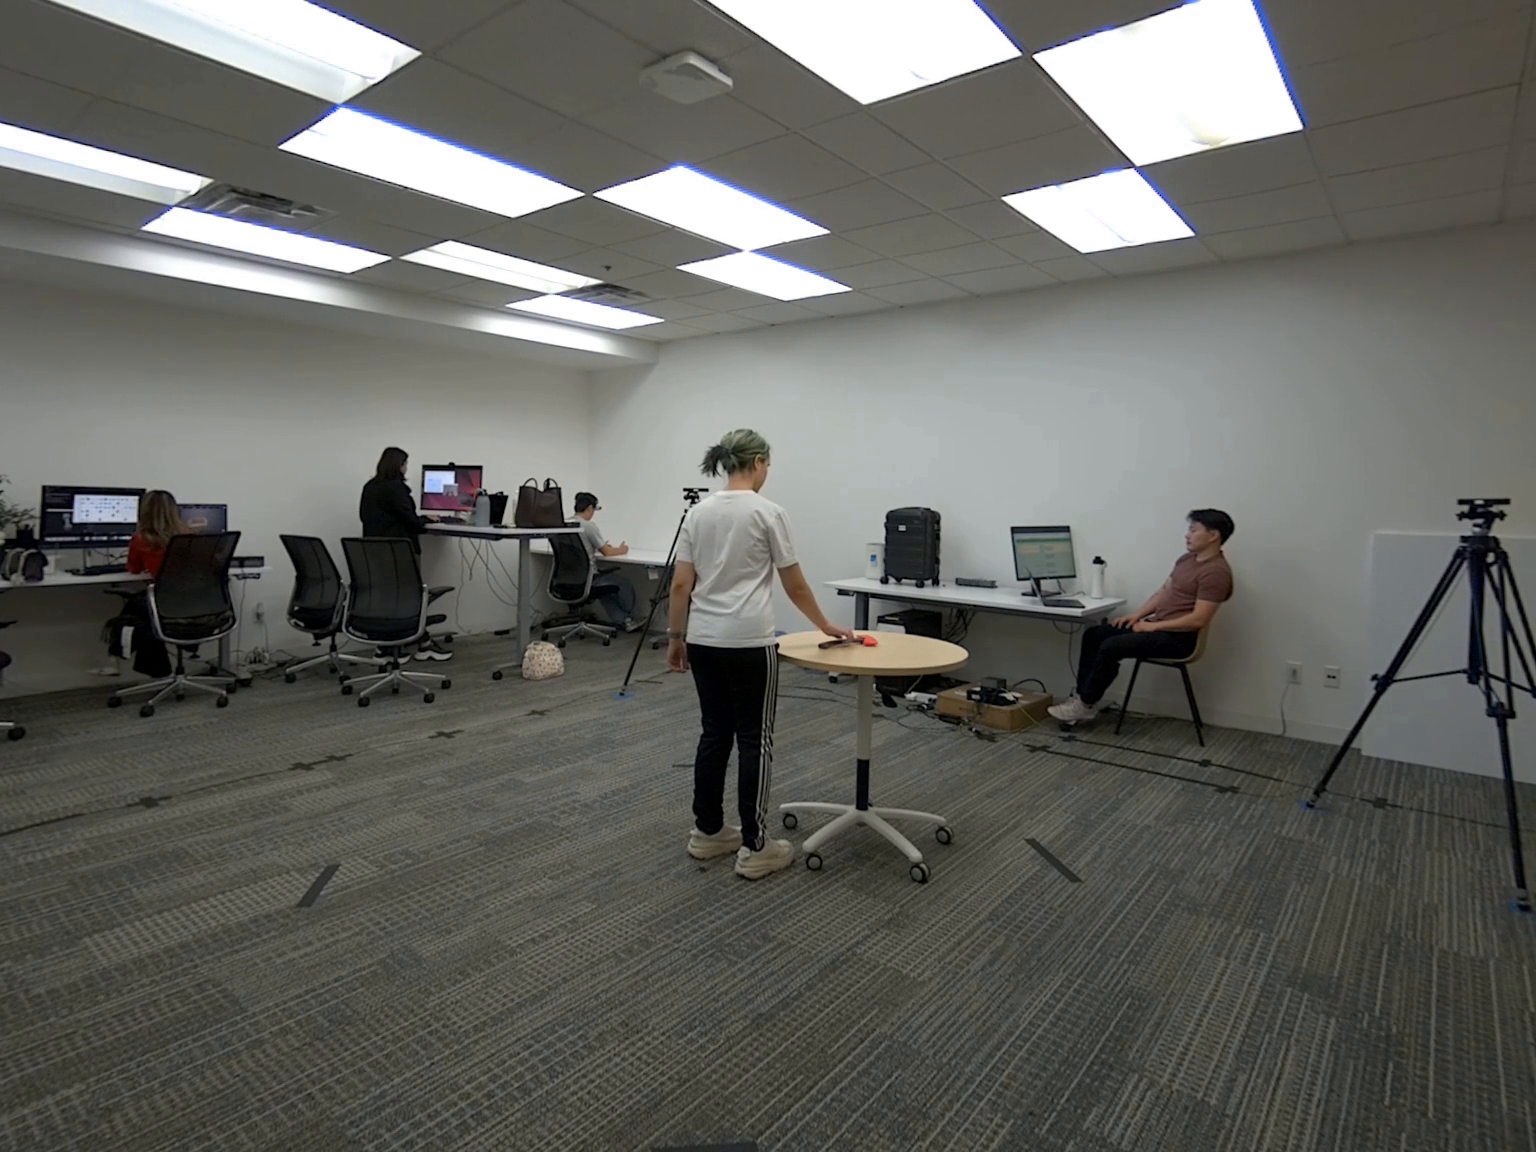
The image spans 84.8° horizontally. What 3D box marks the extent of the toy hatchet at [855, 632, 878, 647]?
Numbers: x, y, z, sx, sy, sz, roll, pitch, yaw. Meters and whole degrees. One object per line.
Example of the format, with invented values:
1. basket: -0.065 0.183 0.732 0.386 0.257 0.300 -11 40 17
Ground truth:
1. toy hatchet: 0.318 0.262 3.335 0.136 0.029 0.262 12 14 44
